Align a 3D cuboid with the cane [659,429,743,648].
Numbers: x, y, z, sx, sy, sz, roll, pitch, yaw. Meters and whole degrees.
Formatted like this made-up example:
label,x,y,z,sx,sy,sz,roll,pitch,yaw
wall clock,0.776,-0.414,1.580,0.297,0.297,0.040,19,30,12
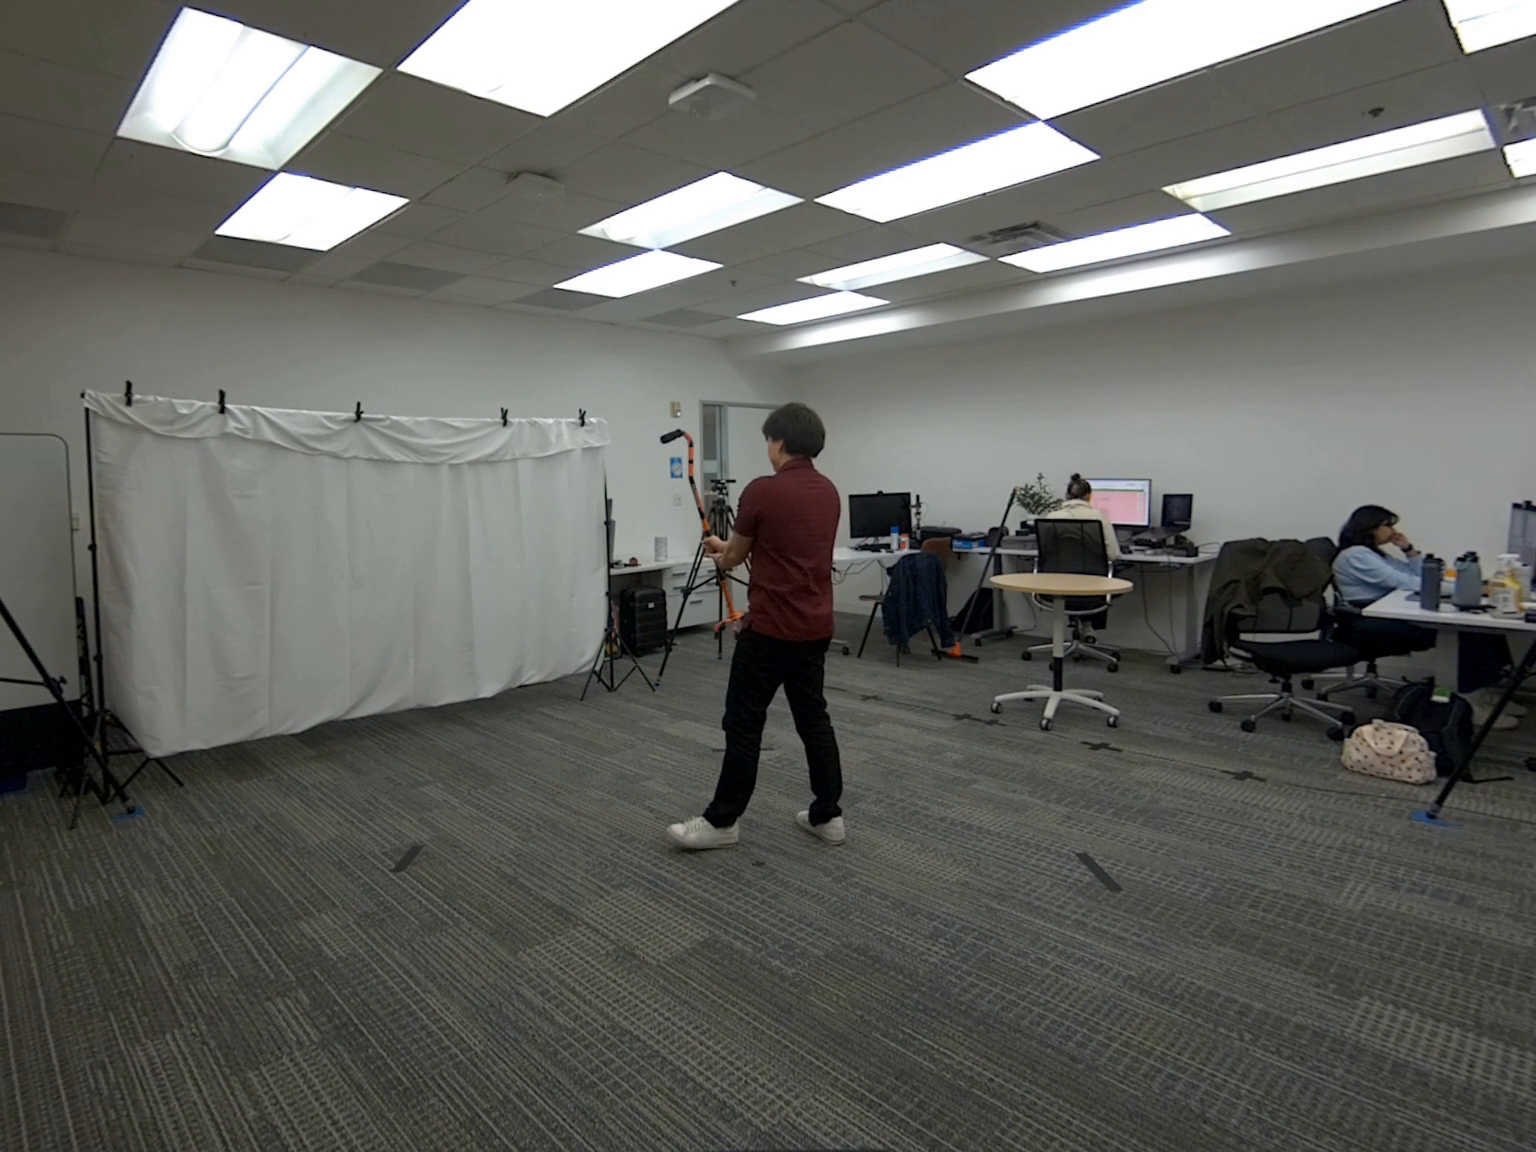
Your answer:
label,x,y,z,sx,sy,sz,roll,pitch,yaw
cane,-0.245,-0.187,3.624,0.156,0.894,0.204,-5,18,43
